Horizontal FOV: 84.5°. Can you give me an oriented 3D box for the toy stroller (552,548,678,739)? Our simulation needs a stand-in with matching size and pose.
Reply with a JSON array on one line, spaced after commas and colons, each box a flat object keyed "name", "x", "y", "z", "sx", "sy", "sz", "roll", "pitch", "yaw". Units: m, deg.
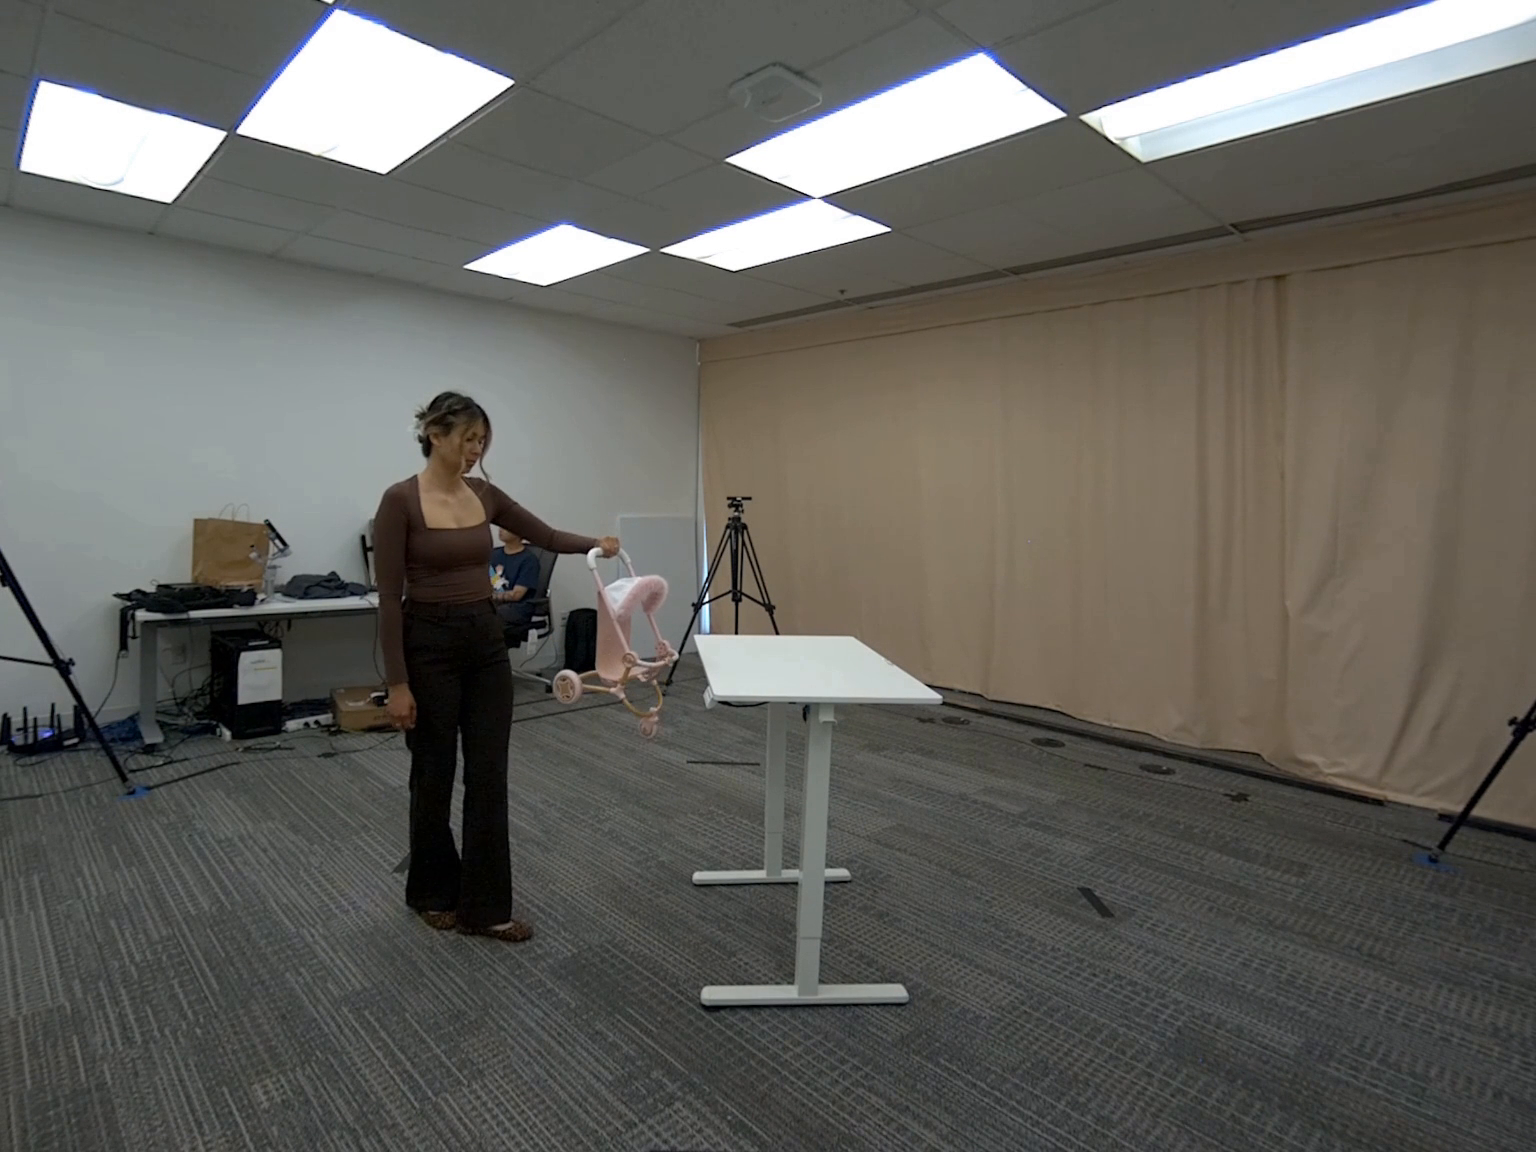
[{"name": "toy stroller", "x": -0.446, "y": 0.212, "z": 2.616, "sx": 0.349, "sy": 0.532, "sz": 0.276, "roll": 18, "pitch": 10, "yaw": 26}]
